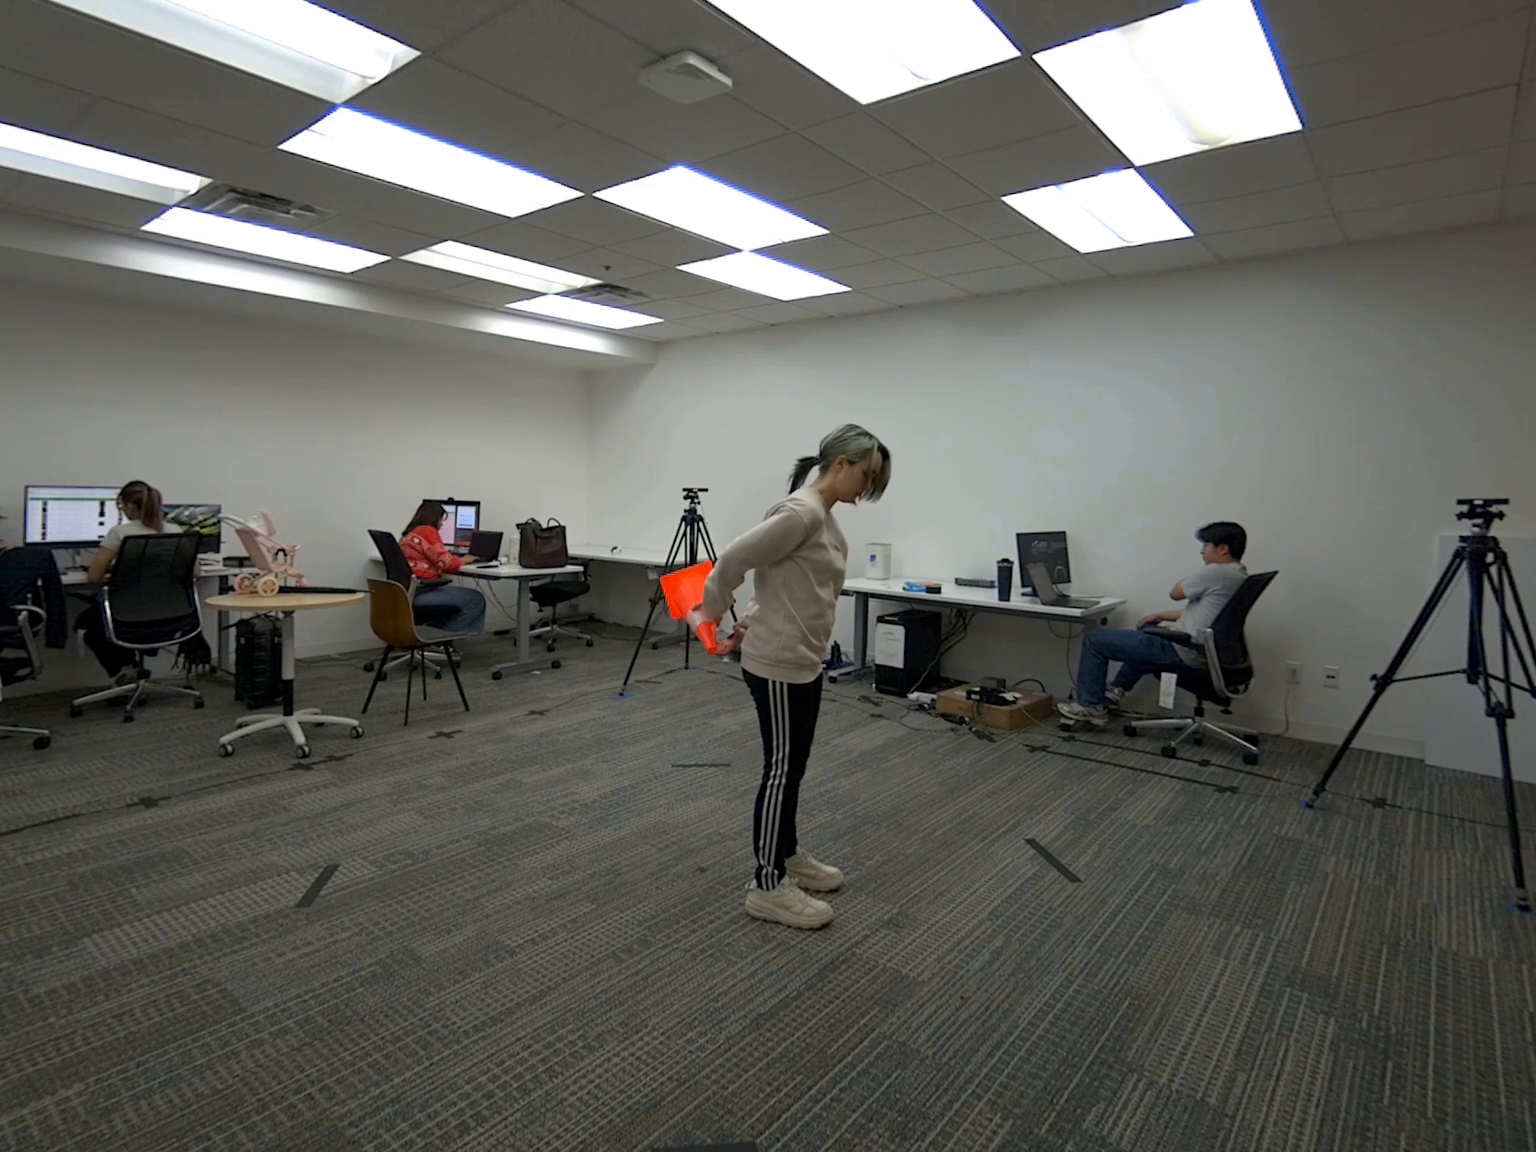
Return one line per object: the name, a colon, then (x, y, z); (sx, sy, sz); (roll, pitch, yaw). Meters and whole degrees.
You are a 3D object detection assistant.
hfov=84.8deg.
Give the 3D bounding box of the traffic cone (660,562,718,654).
traffic cone: (-0.240, 0.155, 2.964); (0.203, 0.198, 0.396); (-20, 31, 0)
